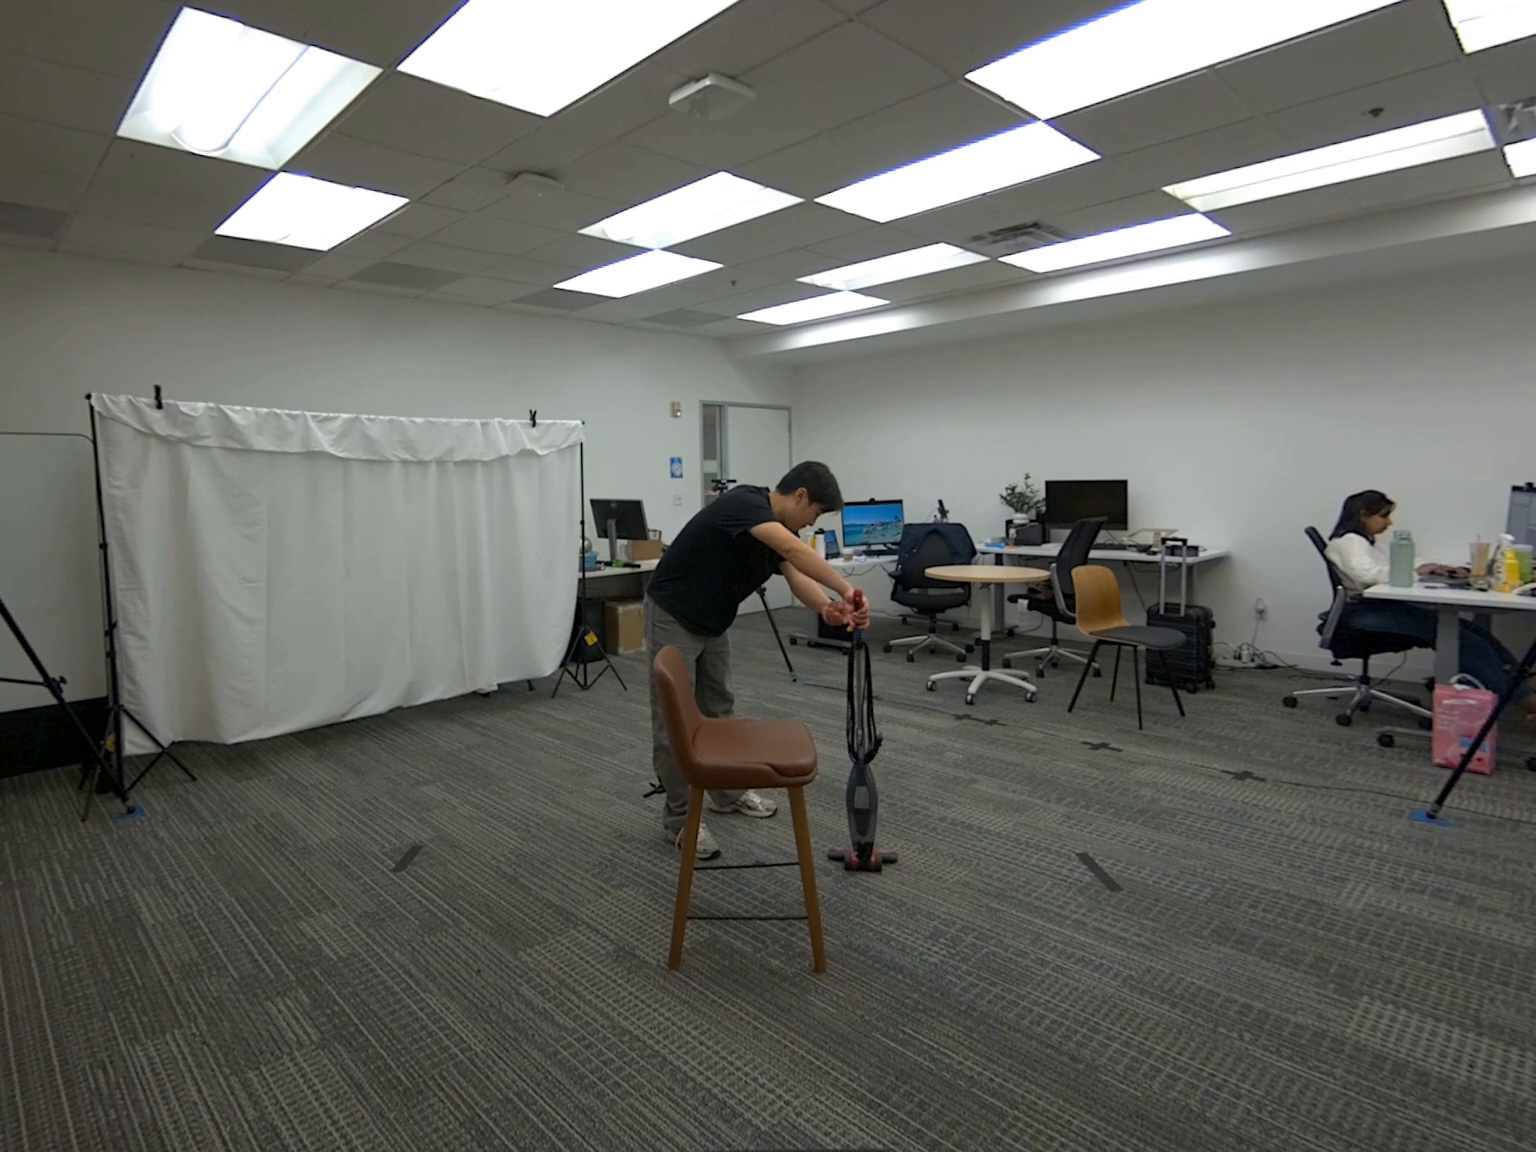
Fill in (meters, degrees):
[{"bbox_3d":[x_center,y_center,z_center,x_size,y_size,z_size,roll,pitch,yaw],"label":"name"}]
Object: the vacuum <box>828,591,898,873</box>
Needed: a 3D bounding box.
[{"bbox_3d":[0.319,0.552,2.943,0.256,1.032,0.144,1,18,14],"label":"vacuum"}]
